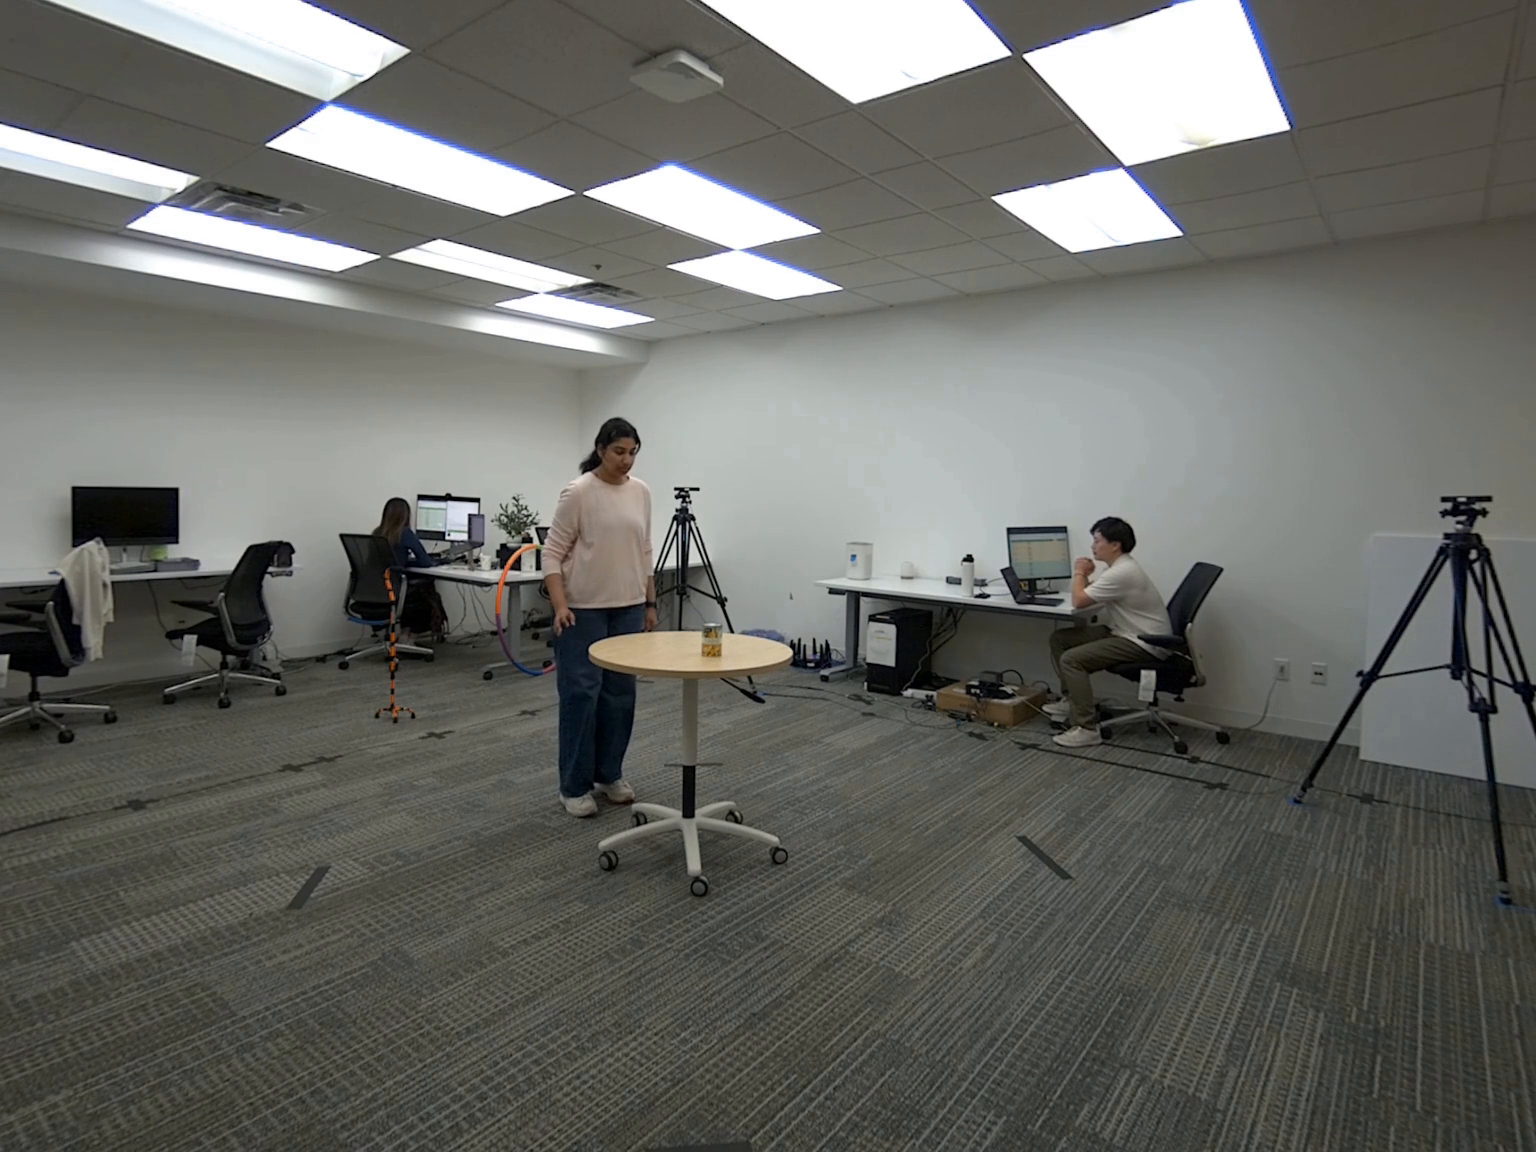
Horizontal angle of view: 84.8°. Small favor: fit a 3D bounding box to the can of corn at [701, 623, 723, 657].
[{"bbox_3d":[-0.209,0.231,3.090,0.074,0.111,0.074,2,2,-2],"label":"can of corn"}]
